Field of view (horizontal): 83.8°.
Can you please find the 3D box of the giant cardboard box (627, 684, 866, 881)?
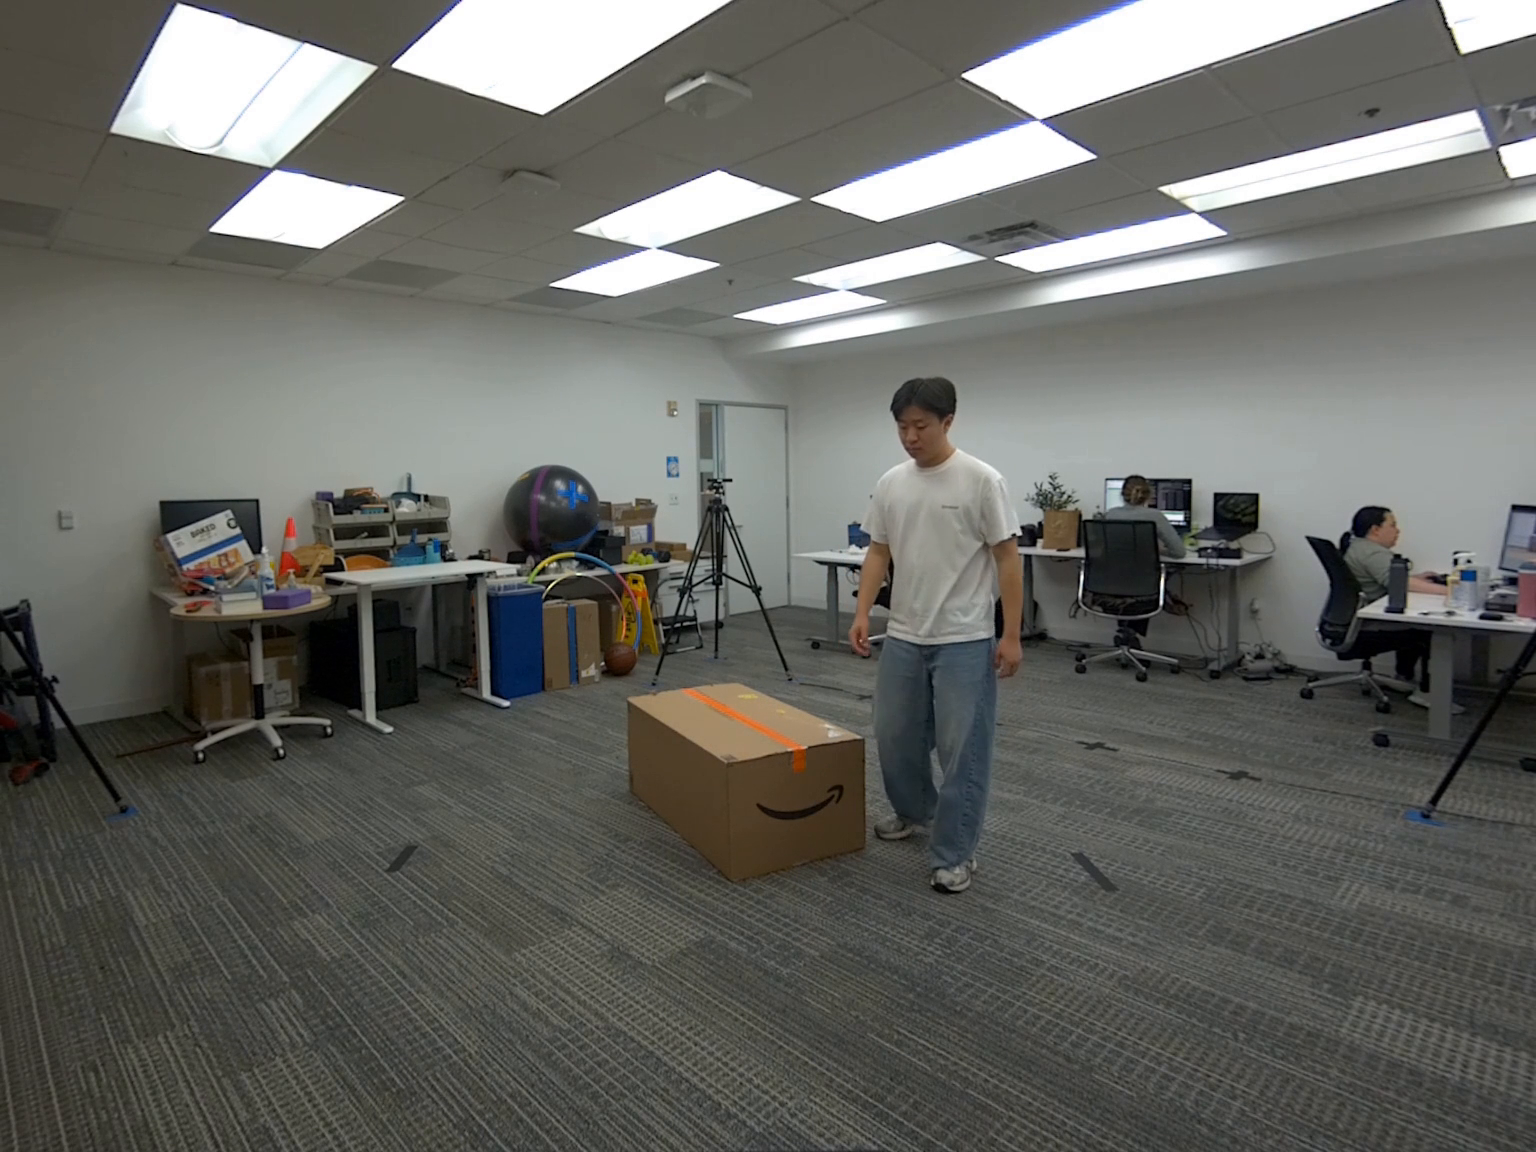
[{"bbox_3d":[-0.136,0.786,3.527,0.564,0.424,1.054,-3,6,-28],"label":"giant cardboard box"}]
